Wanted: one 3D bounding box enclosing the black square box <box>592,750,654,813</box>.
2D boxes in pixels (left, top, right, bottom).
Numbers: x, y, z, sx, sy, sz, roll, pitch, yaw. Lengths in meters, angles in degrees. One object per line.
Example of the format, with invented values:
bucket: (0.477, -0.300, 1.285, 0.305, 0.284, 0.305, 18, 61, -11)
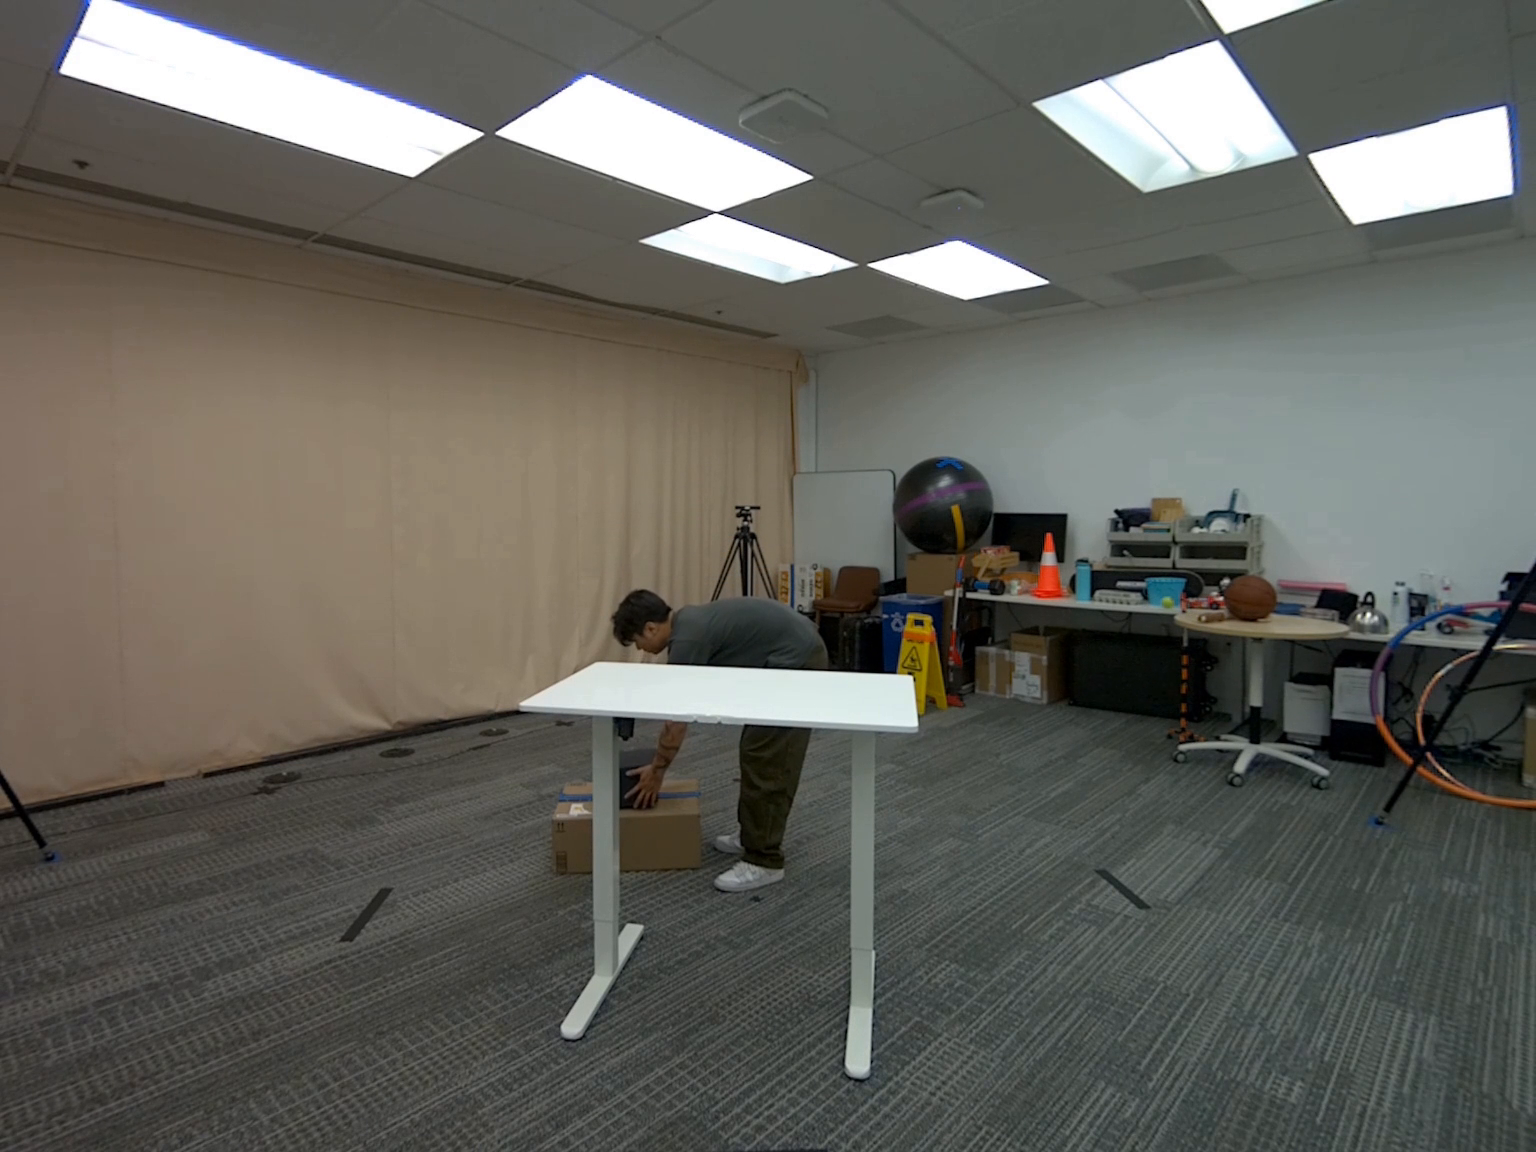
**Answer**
black square box: (-0.567, 0.811, 3.370, 0.227, 0.155, 0.218, -5, 5, -3)
